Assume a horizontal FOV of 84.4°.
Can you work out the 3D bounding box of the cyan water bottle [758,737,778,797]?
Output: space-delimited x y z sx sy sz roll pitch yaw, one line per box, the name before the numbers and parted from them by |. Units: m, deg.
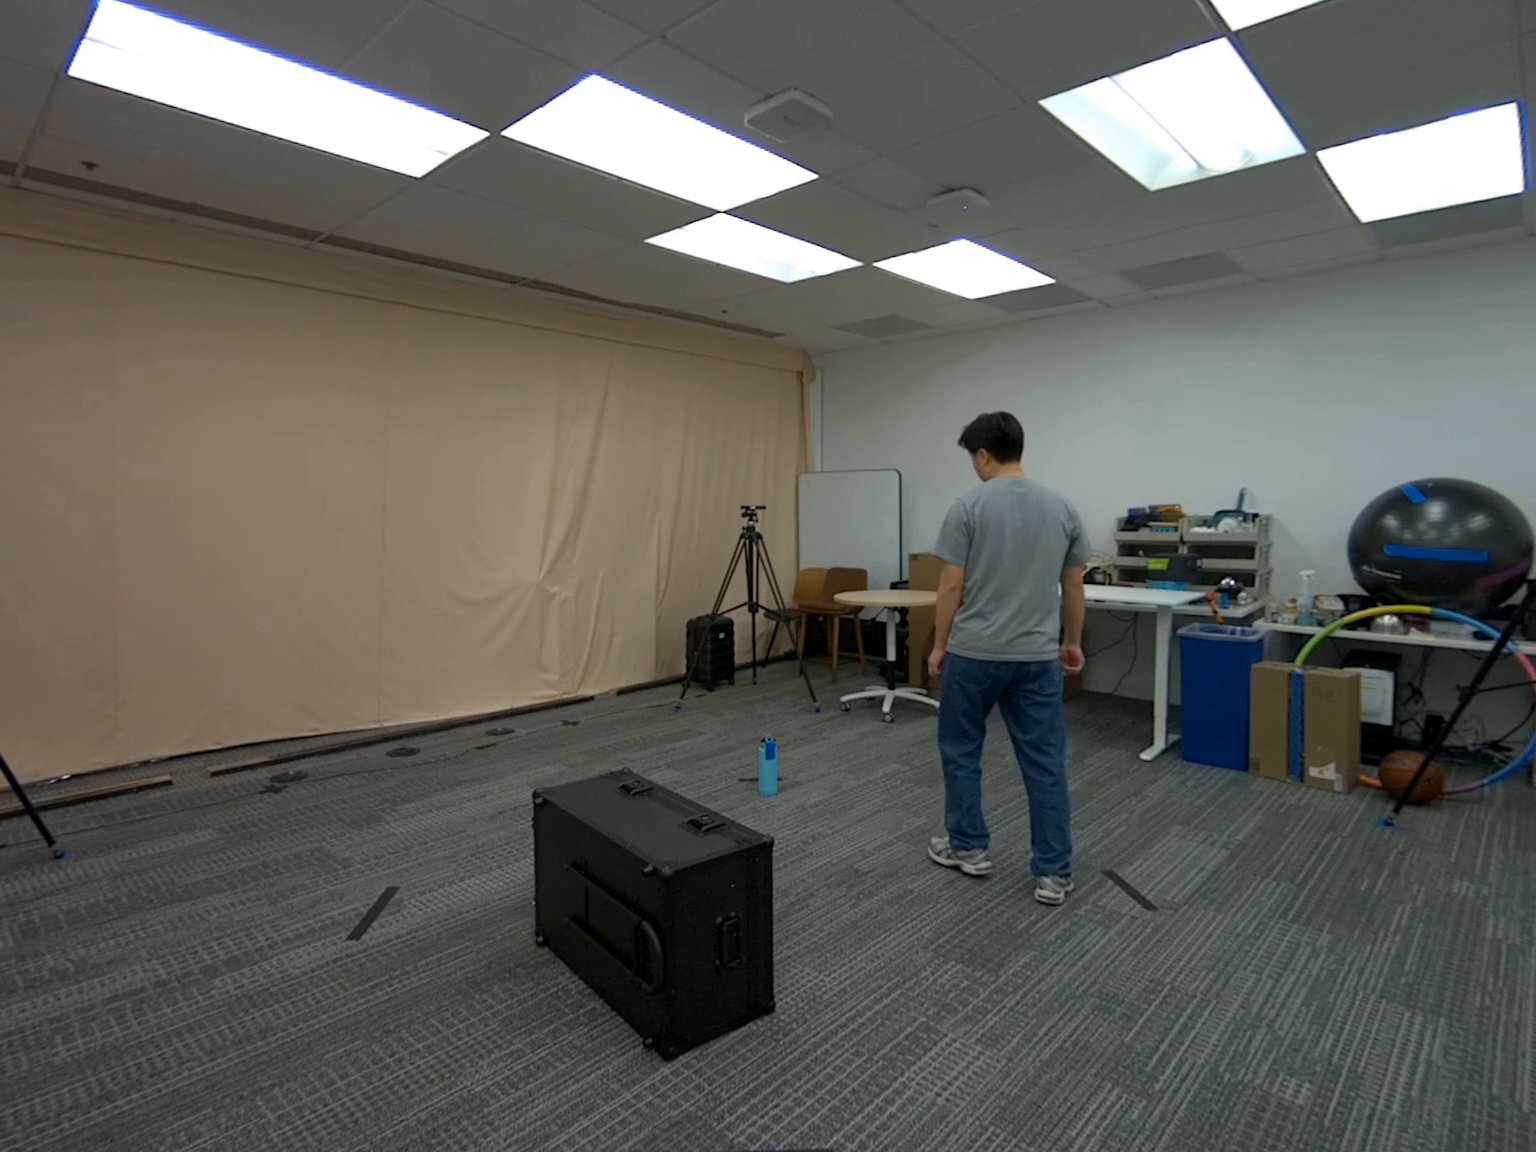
cyan water bottle | 0.004 0.914 4.093 0.092 0.283 0.092 1 3 -2
